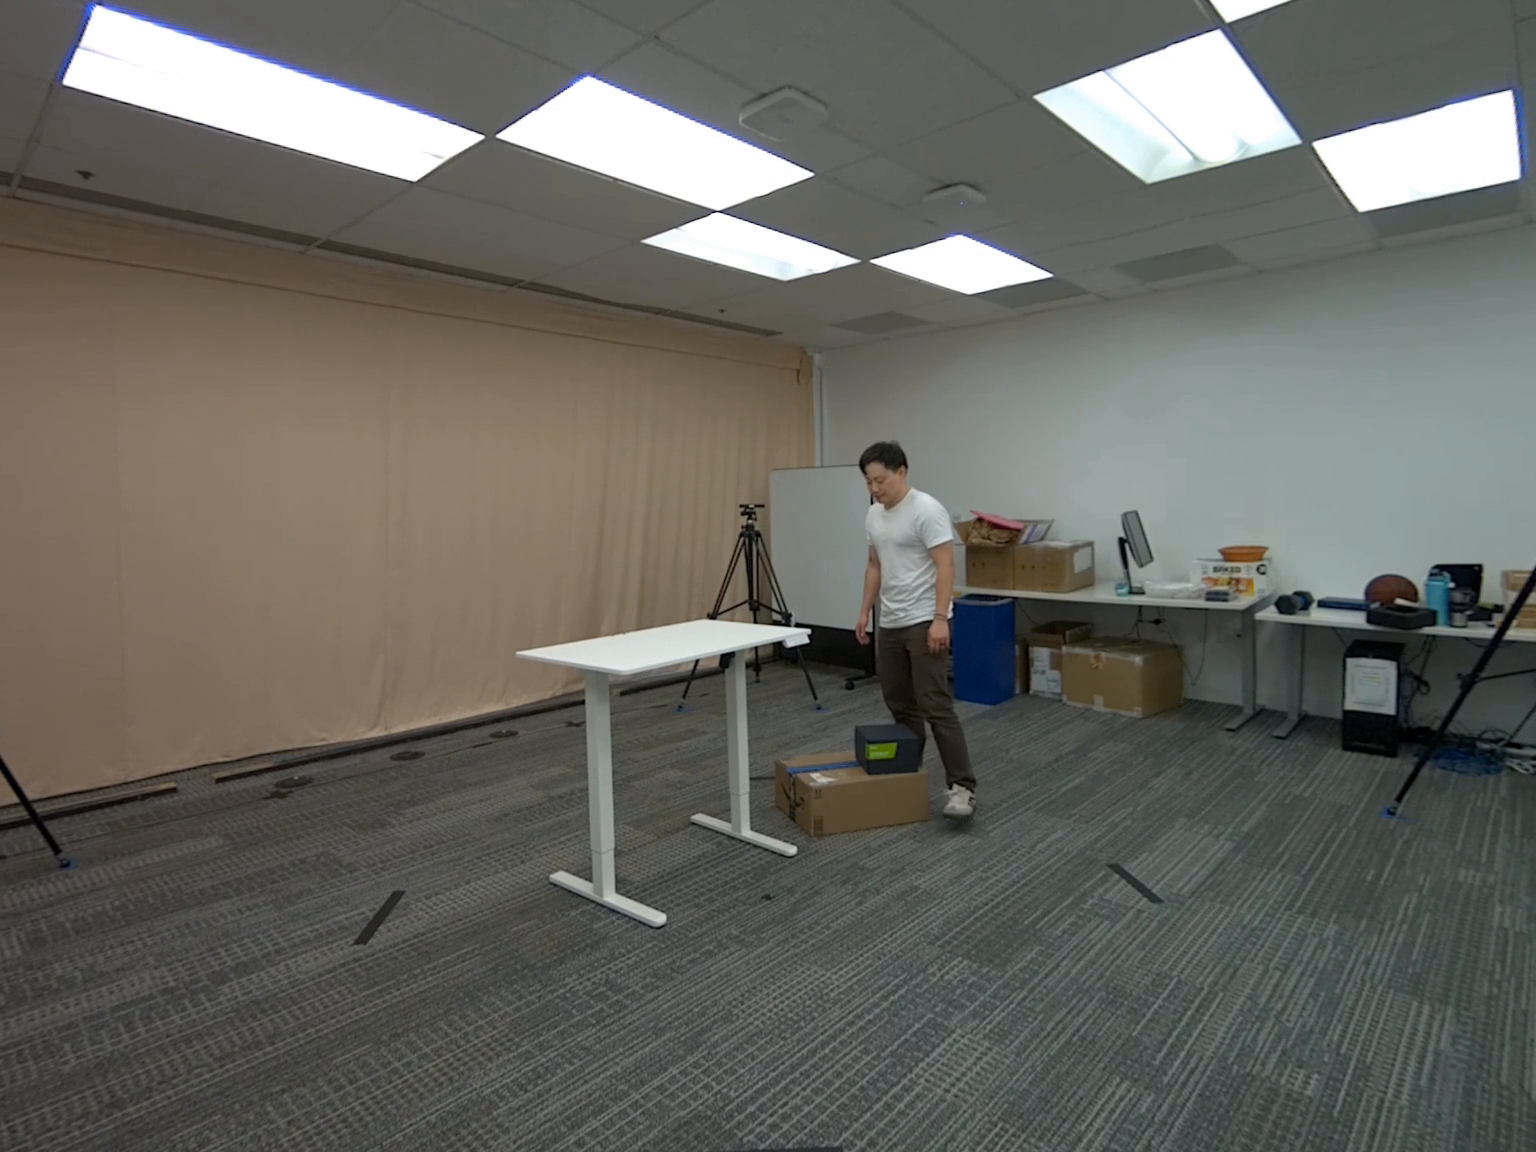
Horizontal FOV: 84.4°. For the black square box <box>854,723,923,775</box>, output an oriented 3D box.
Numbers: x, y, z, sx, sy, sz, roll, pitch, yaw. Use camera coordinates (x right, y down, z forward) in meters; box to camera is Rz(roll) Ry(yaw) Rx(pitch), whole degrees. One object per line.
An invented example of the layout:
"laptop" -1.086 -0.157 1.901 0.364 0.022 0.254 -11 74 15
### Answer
"black square box" 0.527 0.765 3.746 0.226 0.155 0.219 -2 6 -7
